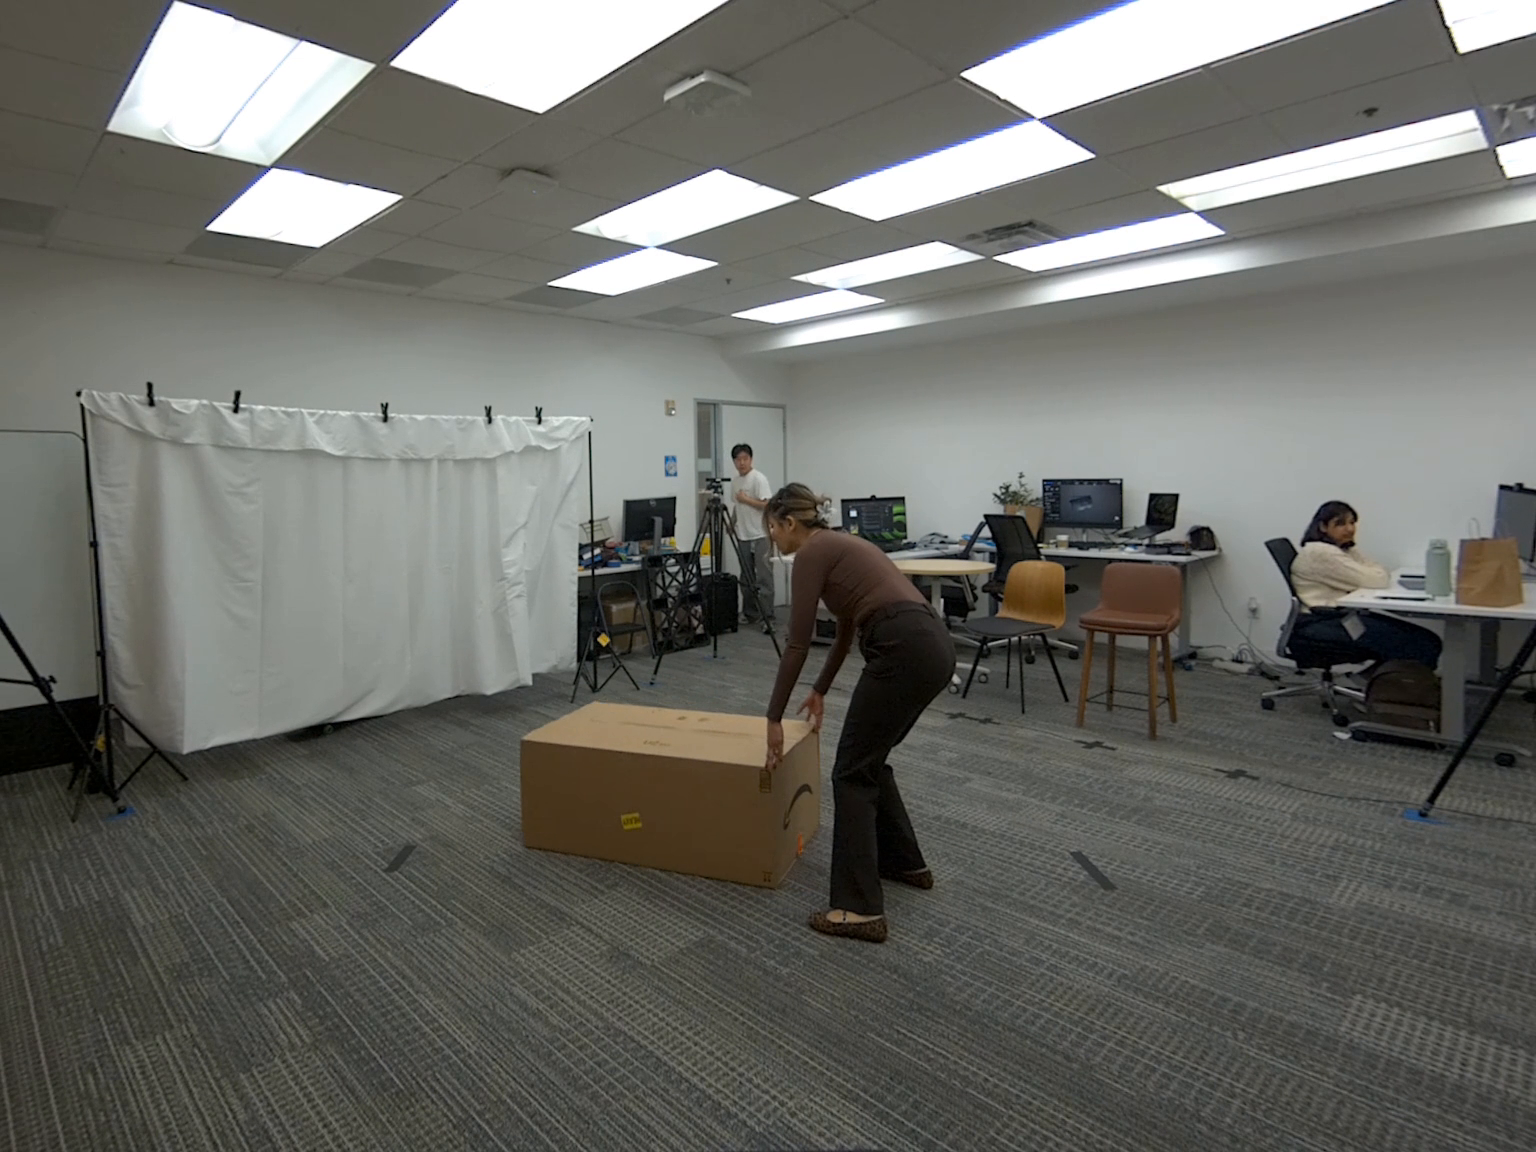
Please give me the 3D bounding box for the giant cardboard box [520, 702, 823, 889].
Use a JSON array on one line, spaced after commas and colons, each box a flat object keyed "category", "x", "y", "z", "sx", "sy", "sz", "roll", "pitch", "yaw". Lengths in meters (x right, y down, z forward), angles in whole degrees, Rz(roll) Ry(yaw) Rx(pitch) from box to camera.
[{"category": "giant cardboard box", "x": -0.361, "y": 0.808, "z": 3.344, "sx": 1.048, "sy": 0.444, "sz": 0.575, "roll": 1, "pitch": 7, "yaw": 21}]
